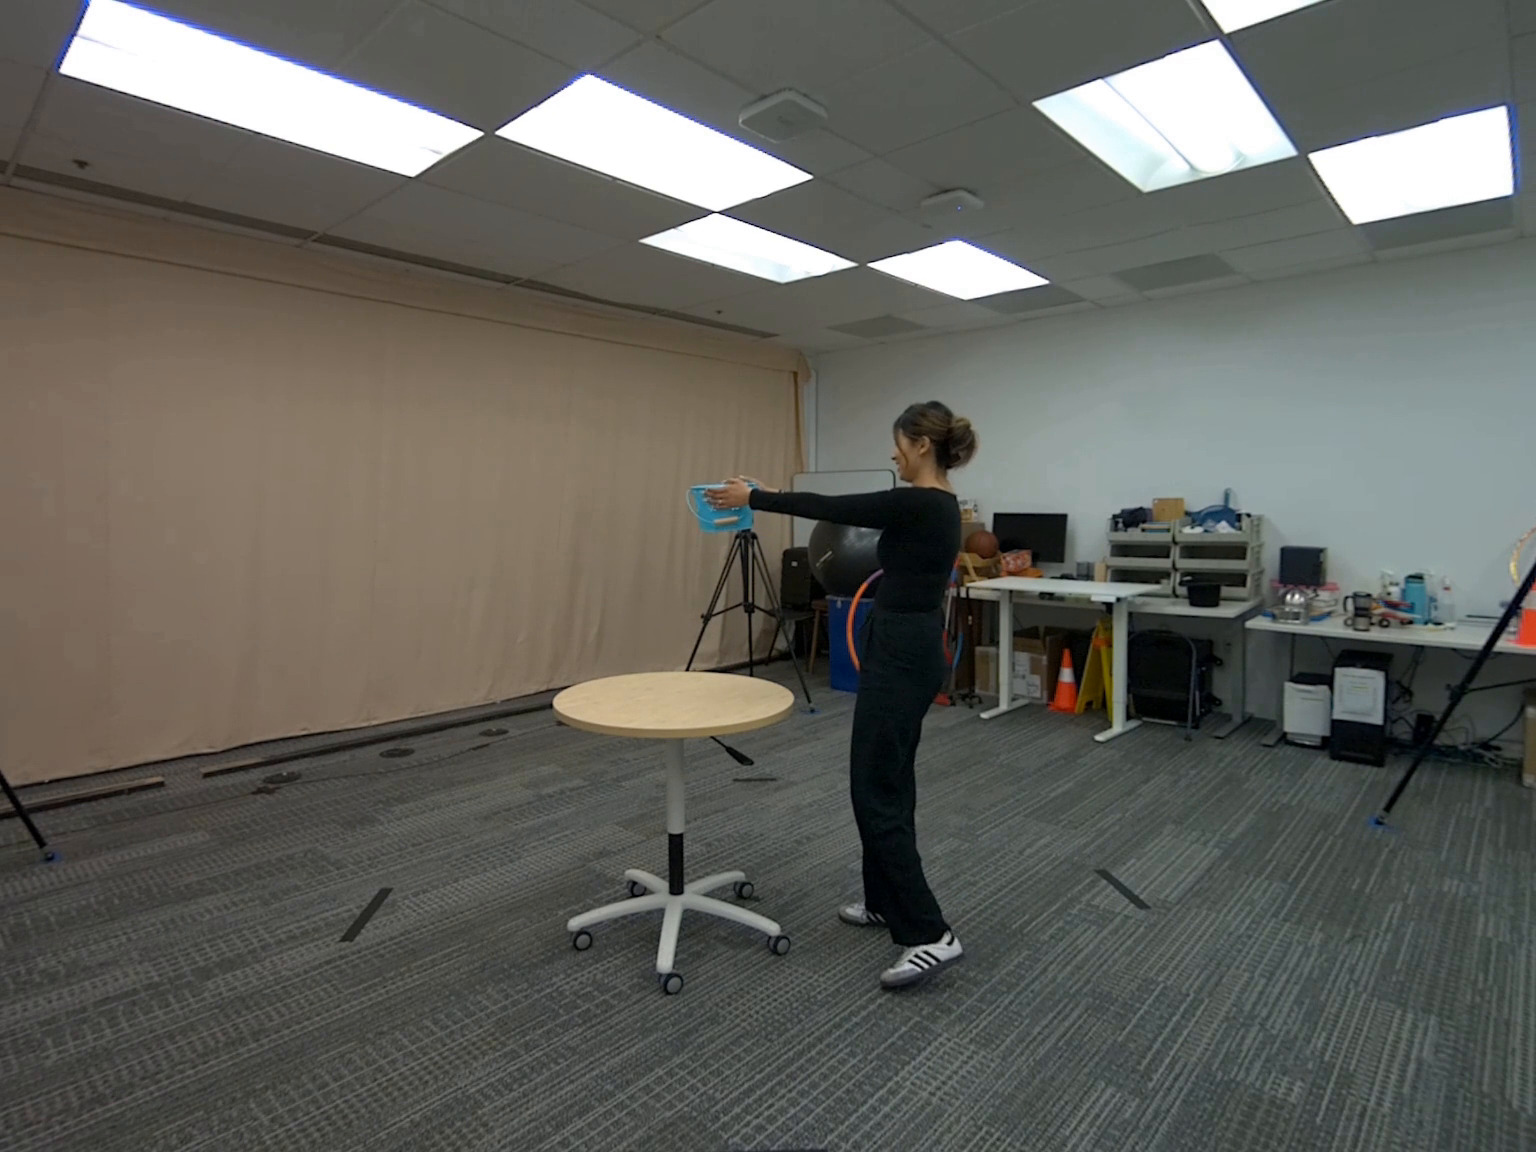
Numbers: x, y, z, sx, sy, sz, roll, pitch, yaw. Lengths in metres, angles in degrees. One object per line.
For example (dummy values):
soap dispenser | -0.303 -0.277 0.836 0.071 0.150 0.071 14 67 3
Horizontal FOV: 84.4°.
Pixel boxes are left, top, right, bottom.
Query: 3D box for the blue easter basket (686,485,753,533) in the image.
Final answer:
blue easter basket | -0.145 -0.234 2.878 0.243 0.155 0.245 -3 7 -2
